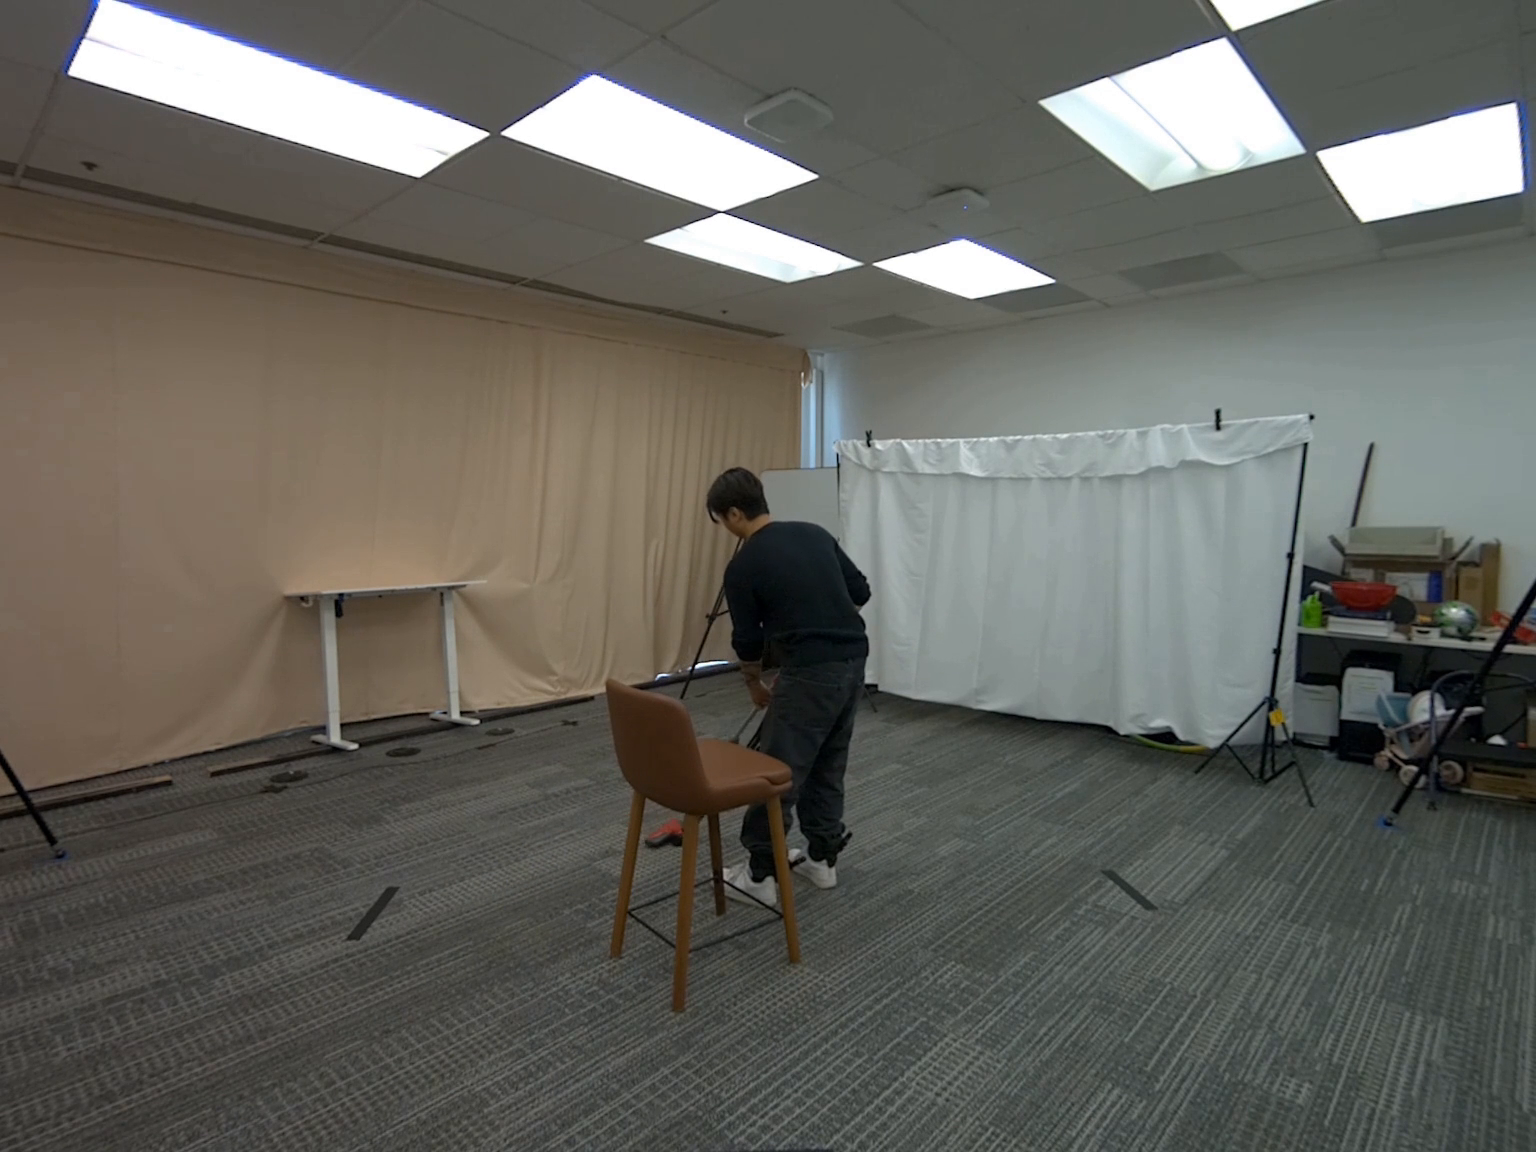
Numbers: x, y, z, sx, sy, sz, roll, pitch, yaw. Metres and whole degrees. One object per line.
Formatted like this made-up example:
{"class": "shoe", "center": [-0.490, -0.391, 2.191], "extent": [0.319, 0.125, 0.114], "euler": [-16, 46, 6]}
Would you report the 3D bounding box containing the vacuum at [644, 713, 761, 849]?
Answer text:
{"class": "vacuum", "center": [-0.126, 0.685, 3.368], "extent": [0.147, 1.051, 0.246], "euler": [42, 19, 20]}
